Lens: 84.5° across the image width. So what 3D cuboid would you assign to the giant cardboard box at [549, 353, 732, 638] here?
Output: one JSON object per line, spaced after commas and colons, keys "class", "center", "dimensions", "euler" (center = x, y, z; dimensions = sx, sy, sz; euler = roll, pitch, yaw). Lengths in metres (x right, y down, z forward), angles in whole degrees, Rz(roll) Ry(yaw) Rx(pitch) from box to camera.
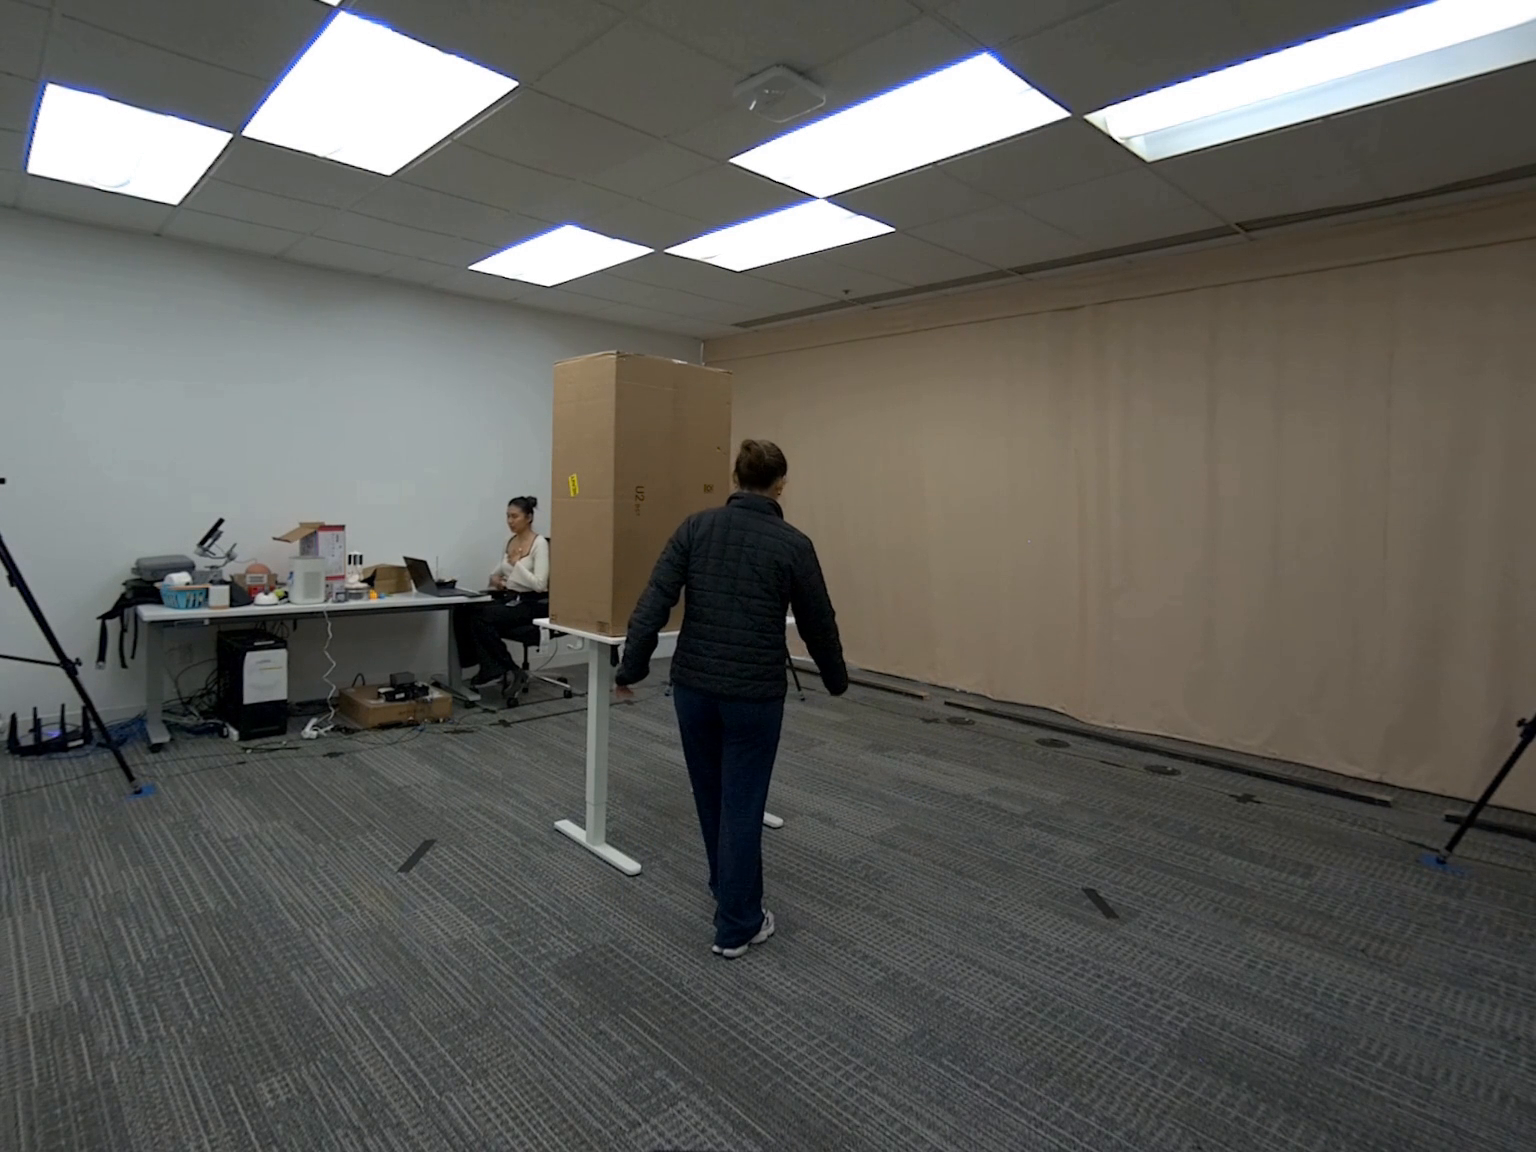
{"class": "giant cardboard box", "center": [-0.506, -0.310, 3.322], "dimensions": [0.437, 1.024, 0.564], "euler": [4, 4, 45]}
